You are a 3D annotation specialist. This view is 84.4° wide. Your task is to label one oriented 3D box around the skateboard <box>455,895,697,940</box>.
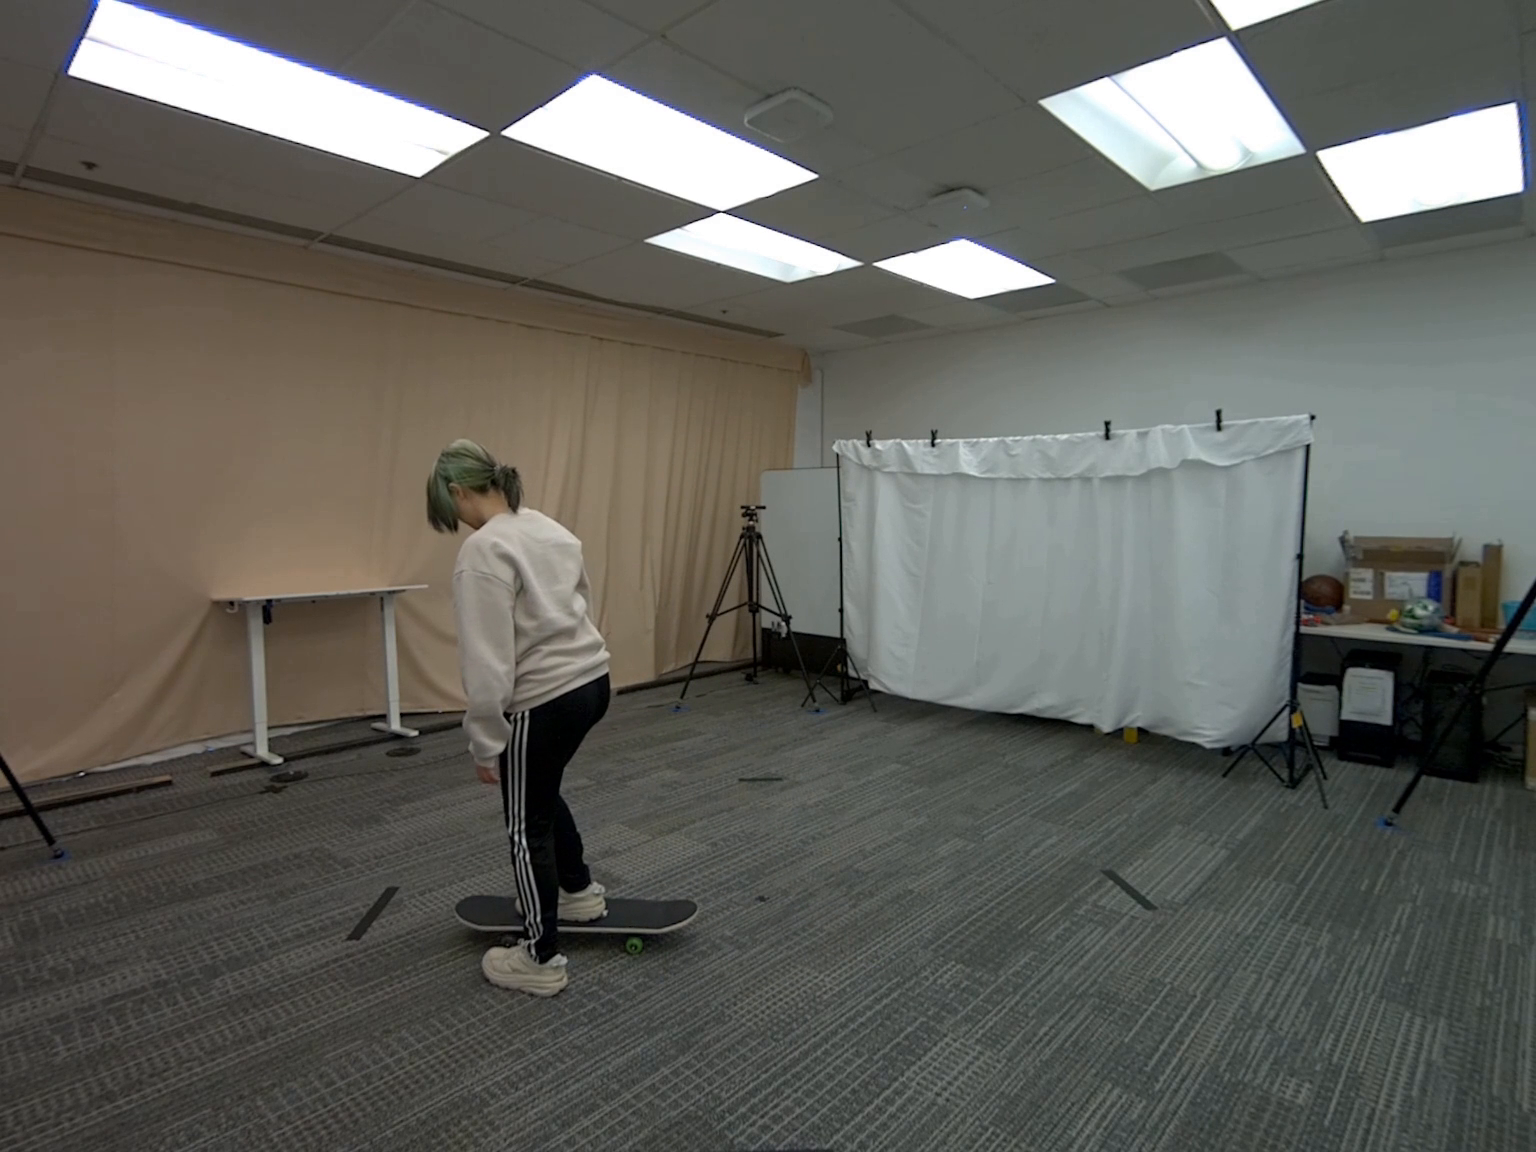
[{"bbox_3d":[-0.612,1.115,2.706,0.789,0.110,0.193,0,6,4],"label":"skateboard"}]
